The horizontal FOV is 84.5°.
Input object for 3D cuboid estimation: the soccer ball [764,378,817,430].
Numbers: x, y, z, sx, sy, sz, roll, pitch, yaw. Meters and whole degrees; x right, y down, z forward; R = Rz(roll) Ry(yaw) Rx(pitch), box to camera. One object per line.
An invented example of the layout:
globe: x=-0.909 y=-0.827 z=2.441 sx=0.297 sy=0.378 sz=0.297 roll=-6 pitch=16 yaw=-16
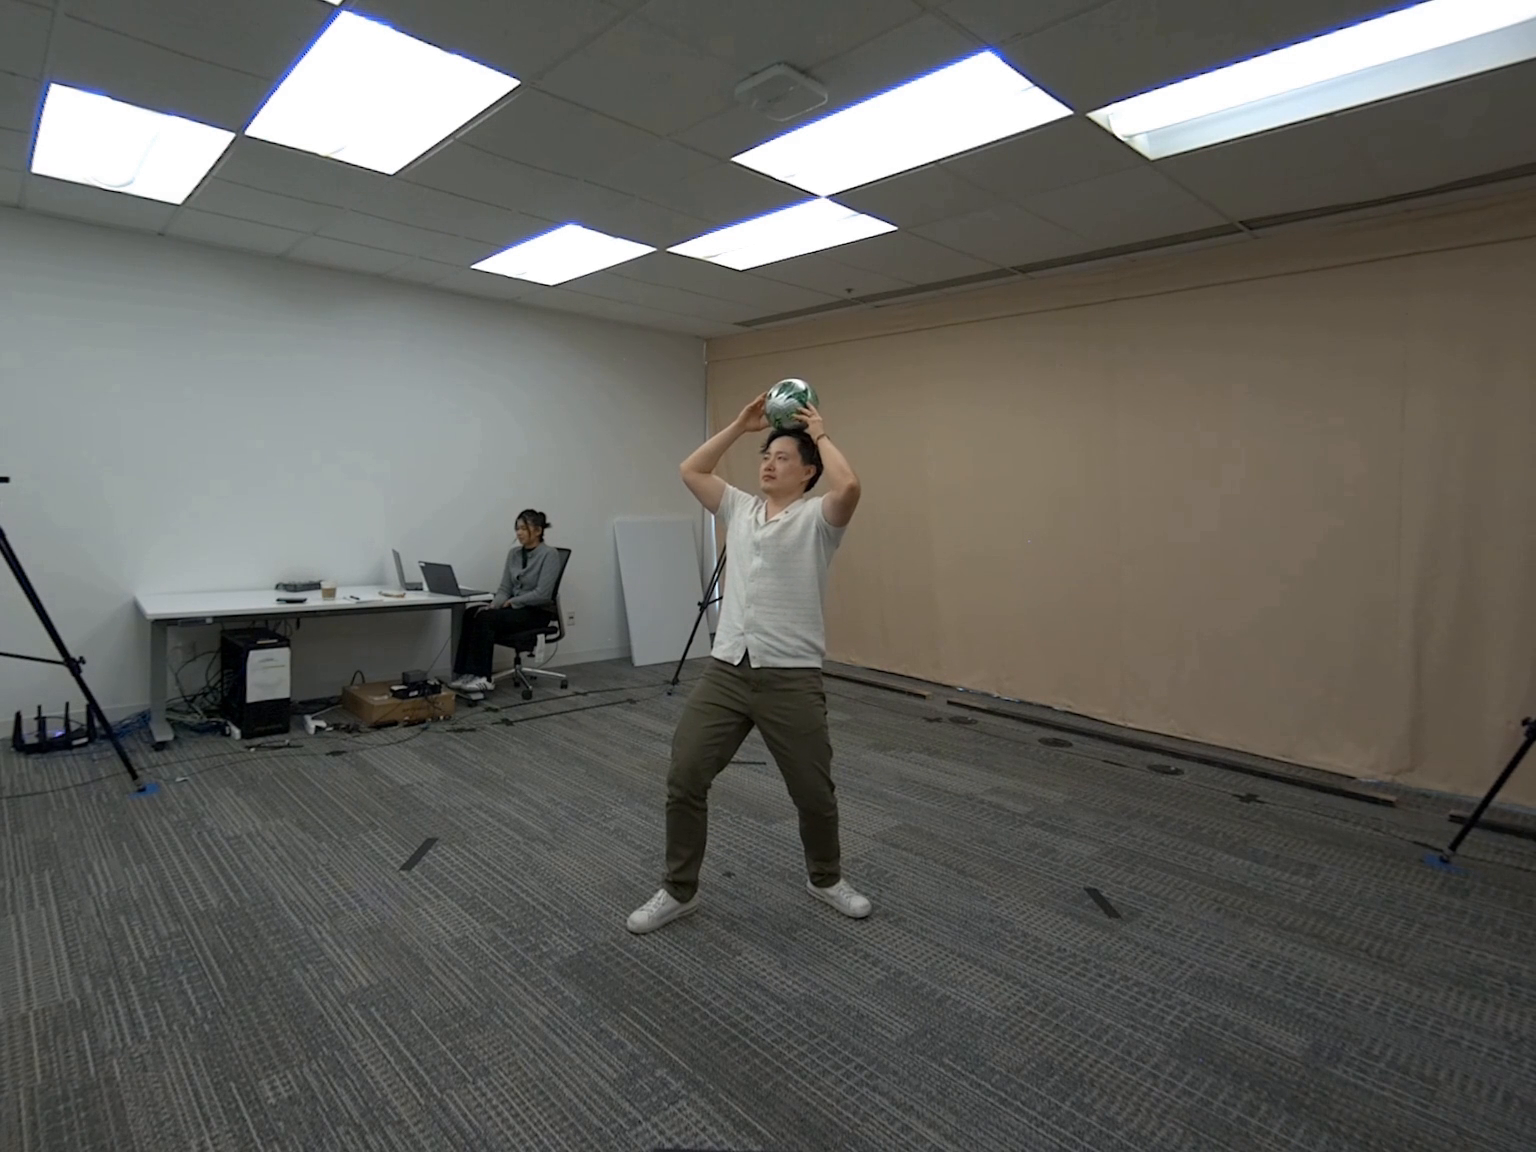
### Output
soccer ball: x=0.078 y=-0.582 z=2.889 sx=0.187 sy=0.187 sz=0.188 roll=1 pitch=4 yaw=-1
